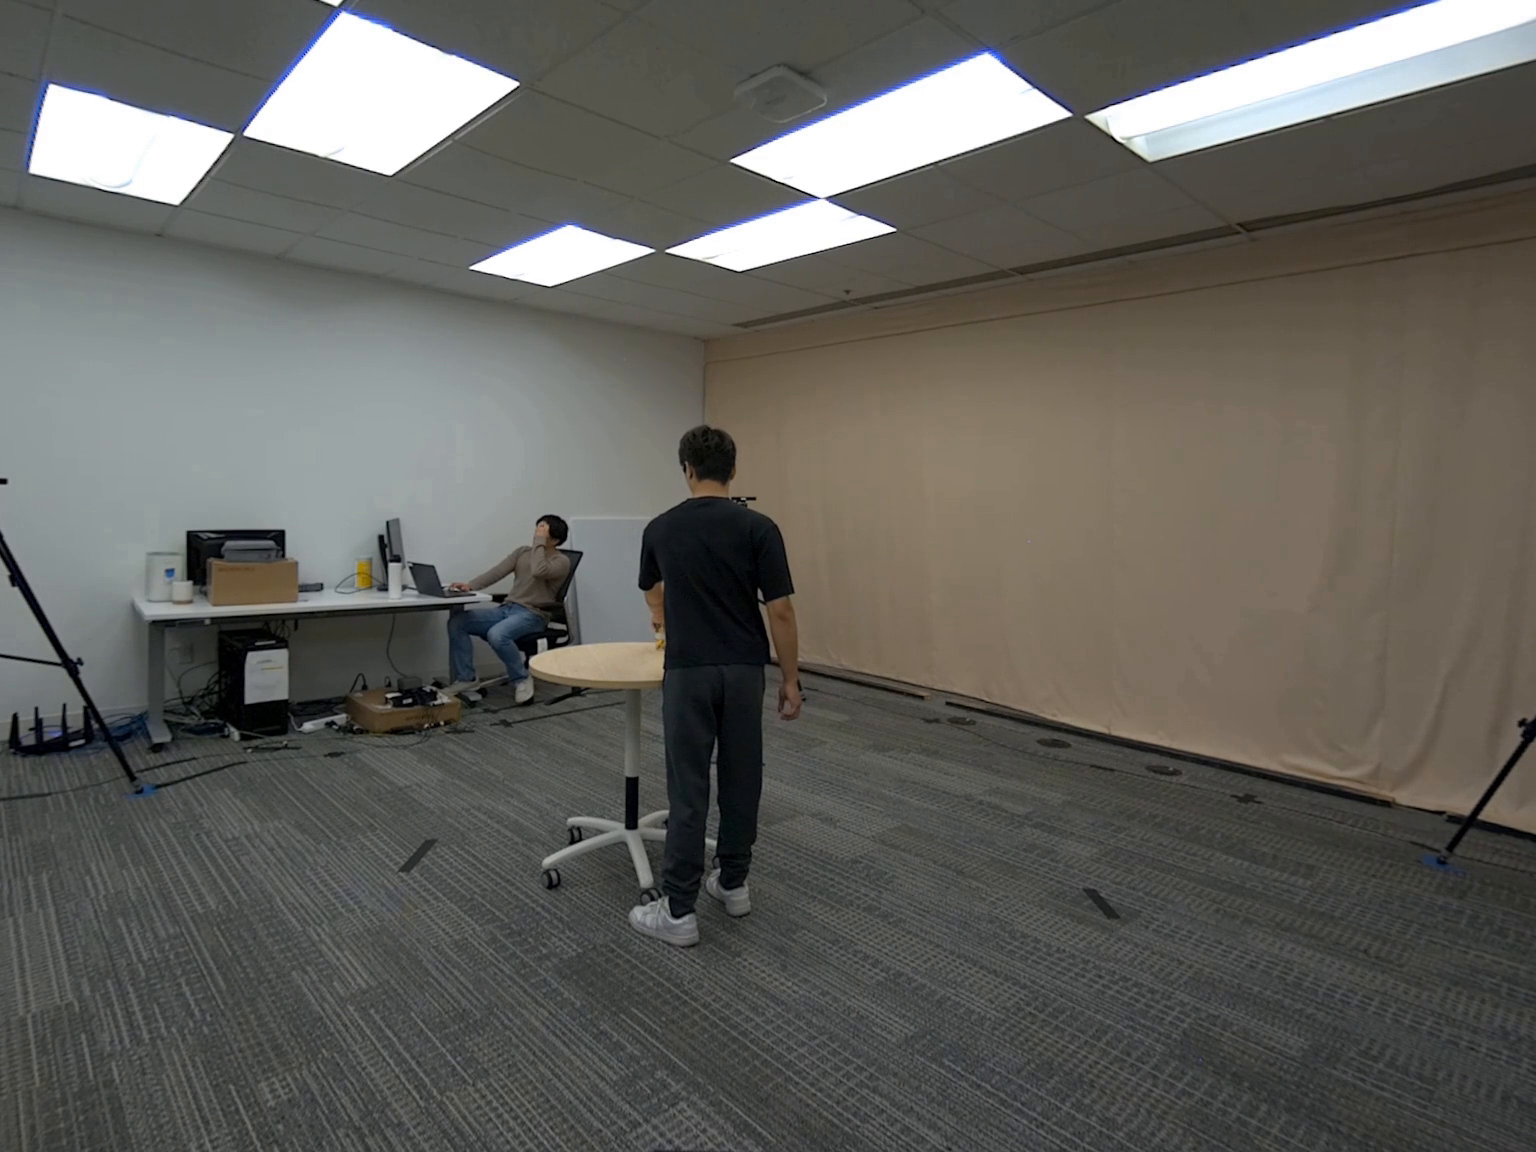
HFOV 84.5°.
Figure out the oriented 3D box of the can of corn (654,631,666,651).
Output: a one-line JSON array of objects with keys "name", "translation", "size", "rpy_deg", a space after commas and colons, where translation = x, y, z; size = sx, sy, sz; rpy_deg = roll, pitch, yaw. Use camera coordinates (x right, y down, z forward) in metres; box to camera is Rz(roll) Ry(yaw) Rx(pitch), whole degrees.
[{"name": "can of corn", "translation": [-0.429, 0.236, 3.370], "size": [0.074, 0.110, 0.074], "rpy_deg": [0, 5, -1]}]
